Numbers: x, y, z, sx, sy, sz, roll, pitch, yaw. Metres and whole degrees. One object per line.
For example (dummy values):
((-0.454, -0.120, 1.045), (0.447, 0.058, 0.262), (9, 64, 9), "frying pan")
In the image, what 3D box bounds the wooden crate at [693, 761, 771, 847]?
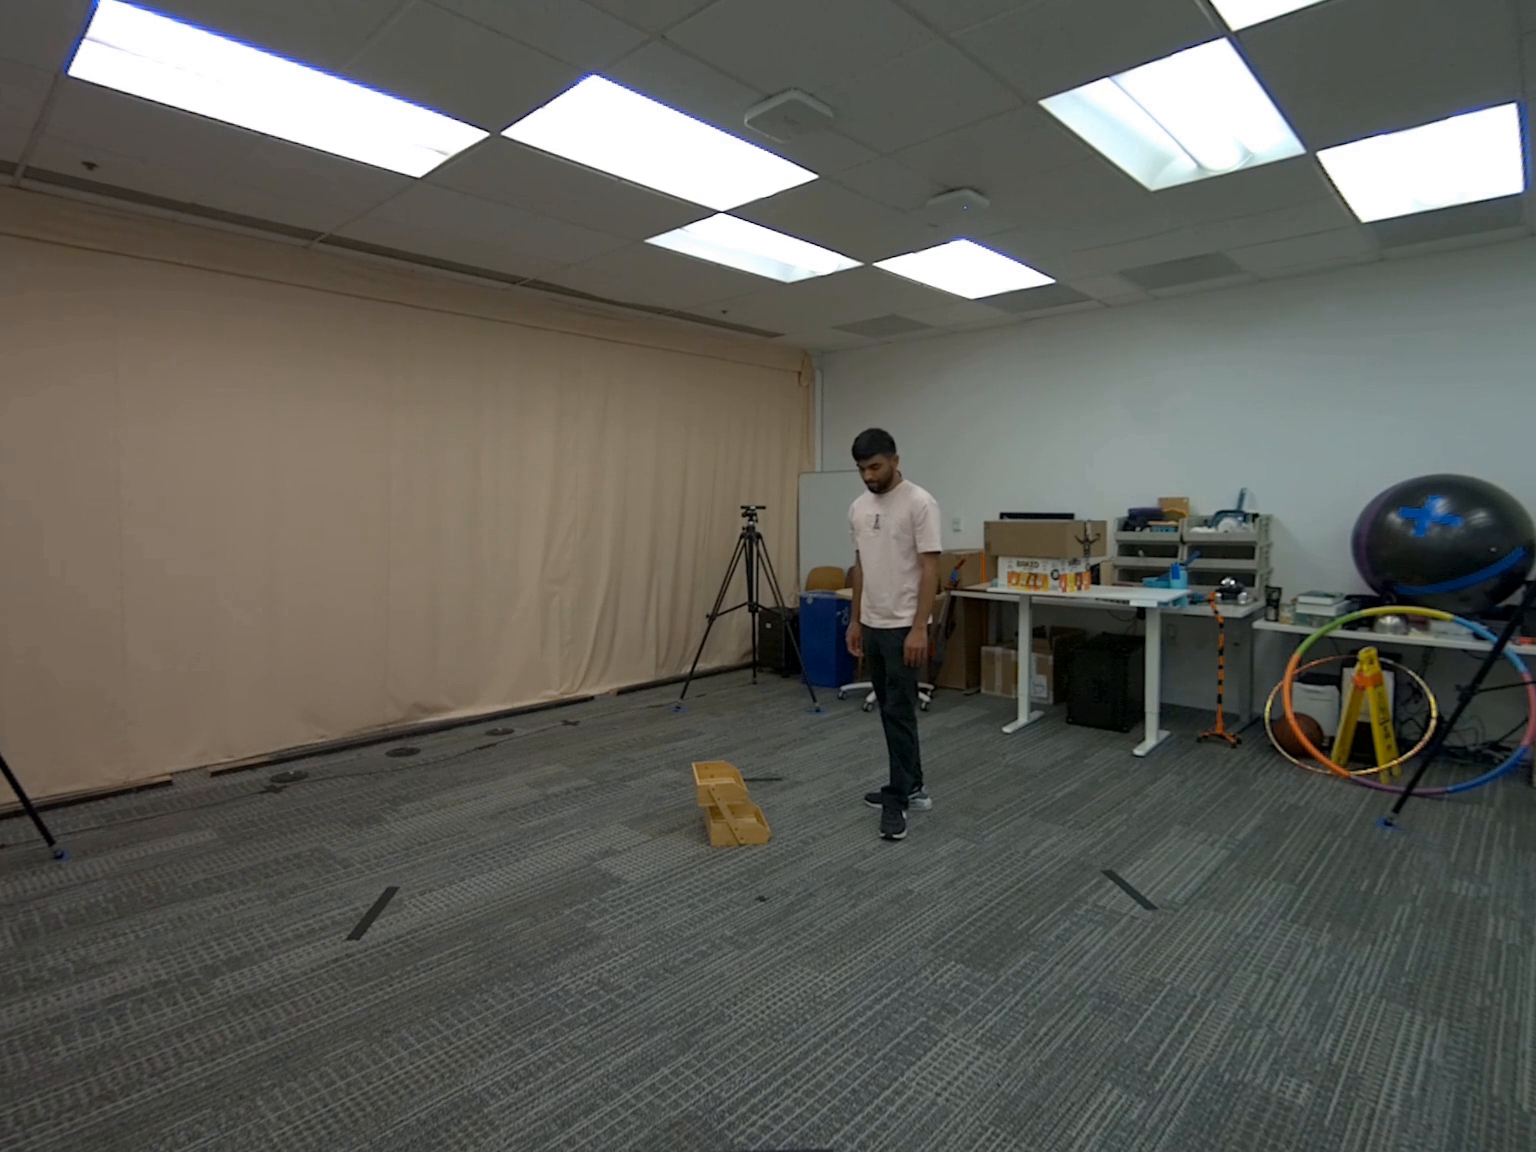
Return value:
((-0.161, 0.960, 3.604), (0.299, 0.273, 0.328), (-2, 3, -9), "wooden crate")
